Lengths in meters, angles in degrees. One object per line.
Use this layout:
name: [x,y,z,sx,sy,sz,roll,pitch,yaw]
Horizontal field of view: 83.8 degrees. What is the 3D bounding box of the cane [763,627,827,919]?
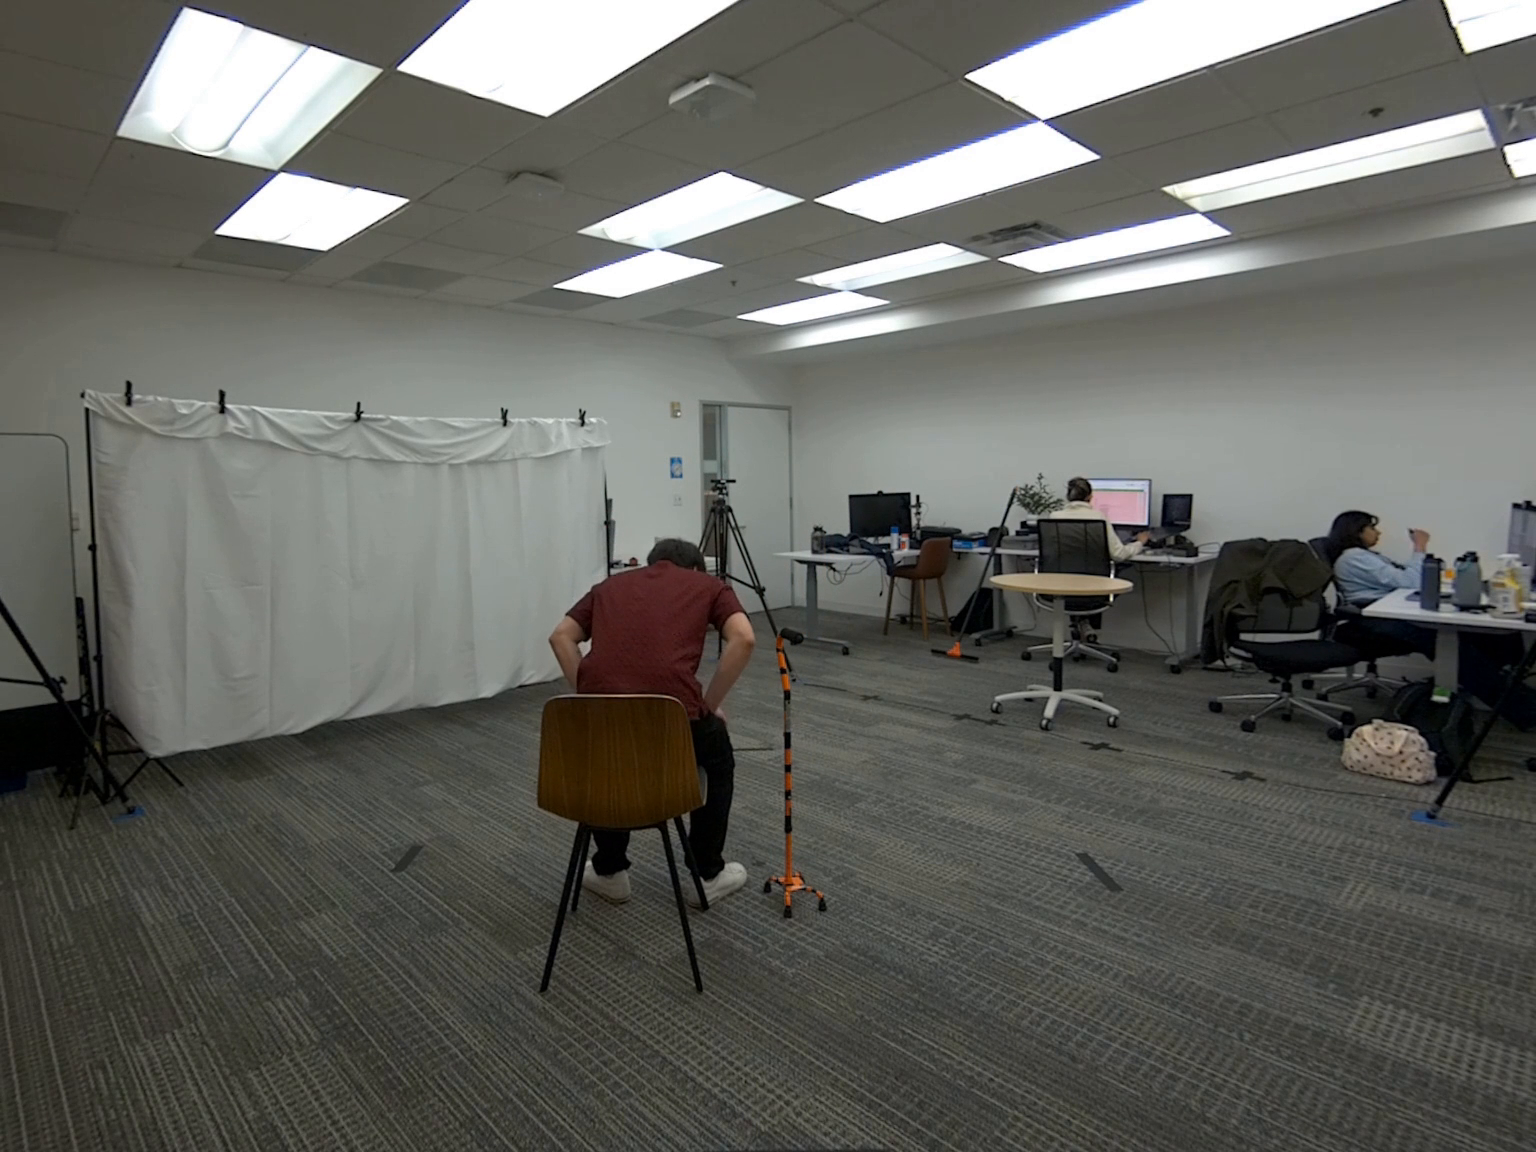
cane: [0.080,0.619,2.803,0.149,0.905,0.211,-3,4,-22]
